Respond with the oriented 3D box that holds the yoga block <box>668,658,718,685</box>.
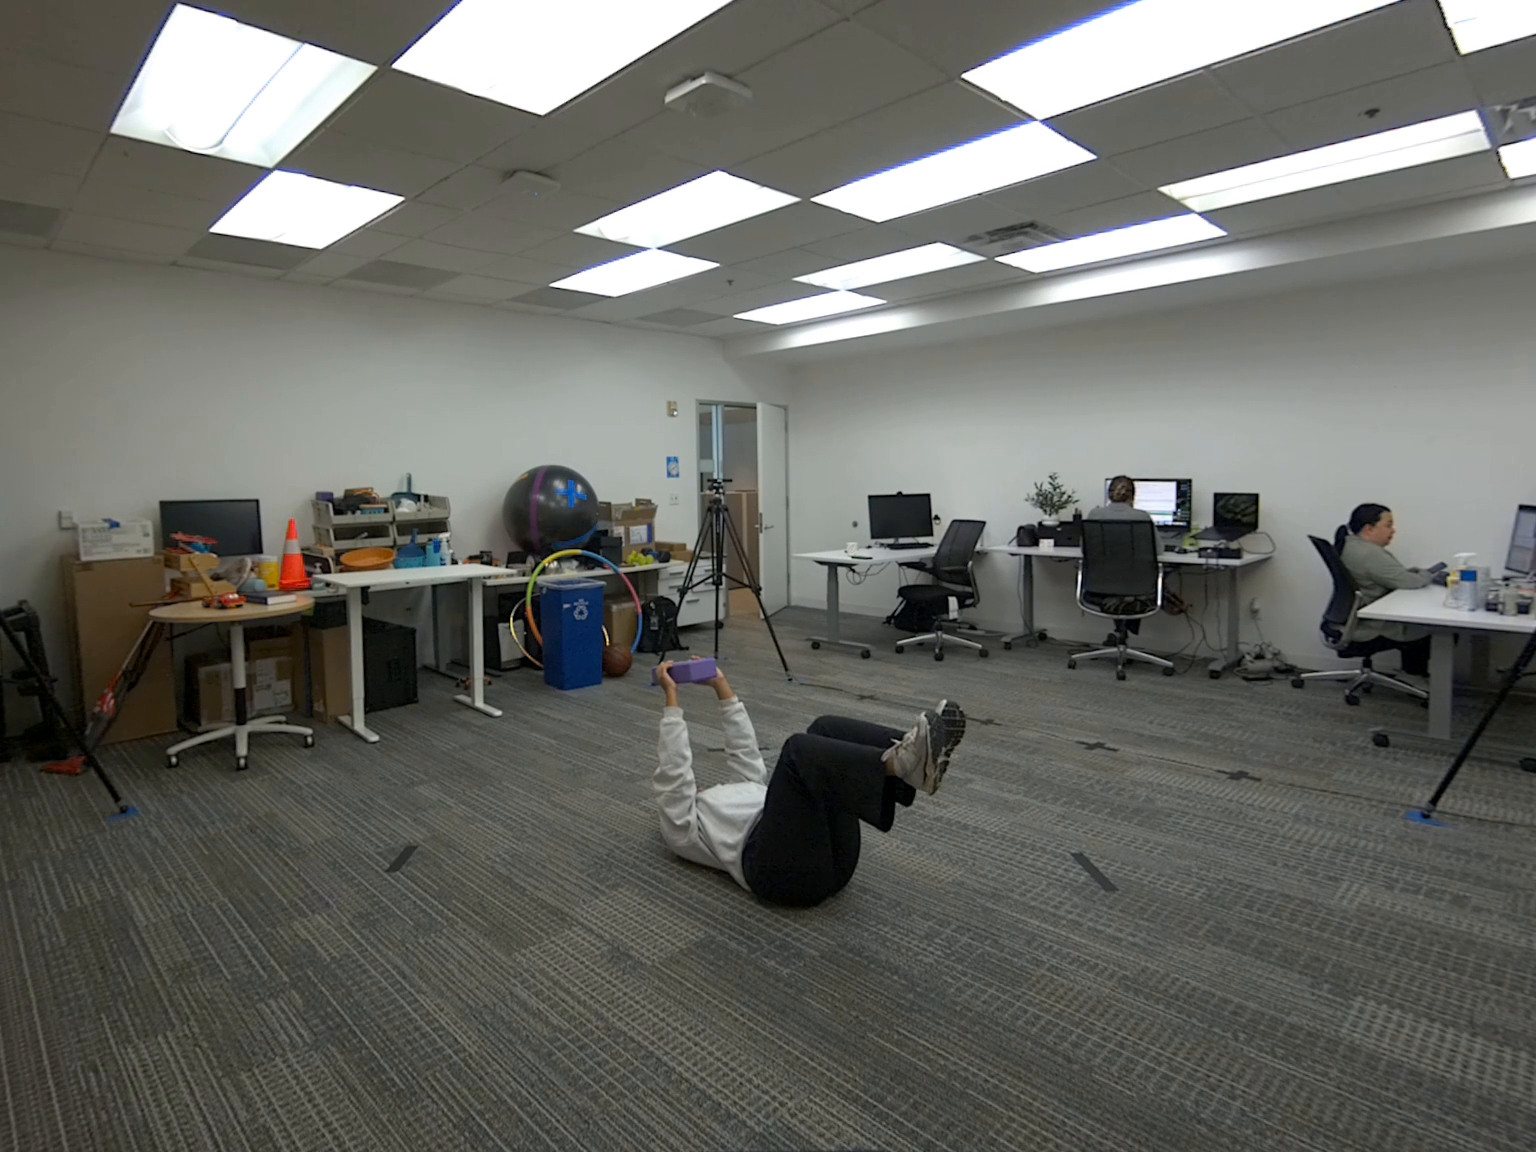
[{"bbox_3d":[-0.330,0.375,3.331,0.234,0.077,0.145,-12,-5,41],"label":"yoga block"}]
